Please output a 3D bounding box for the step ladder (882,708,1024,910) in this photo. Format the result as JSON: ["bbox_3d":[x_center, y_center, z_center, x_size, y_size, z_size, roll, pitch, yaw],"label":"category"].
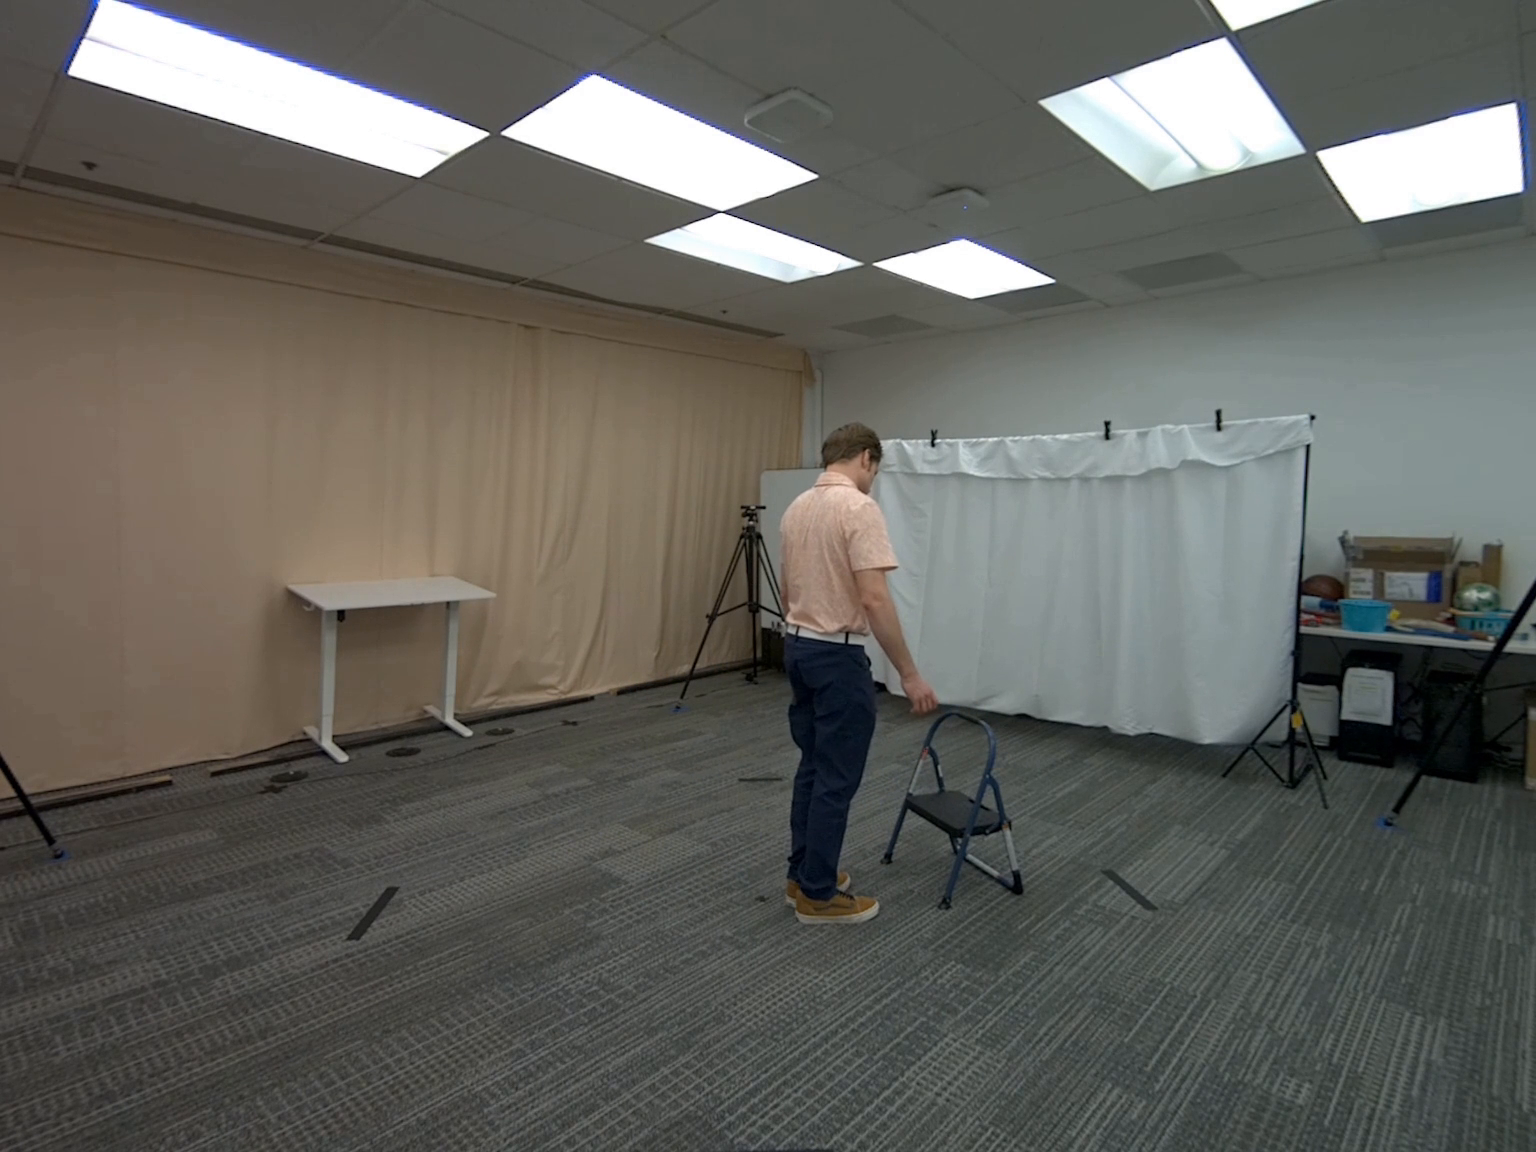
[{"bbox_3d":[0.687,0.826,3.133,0.342,0.605,0.440,-1,3,-21],"label":"step ladder"}]
